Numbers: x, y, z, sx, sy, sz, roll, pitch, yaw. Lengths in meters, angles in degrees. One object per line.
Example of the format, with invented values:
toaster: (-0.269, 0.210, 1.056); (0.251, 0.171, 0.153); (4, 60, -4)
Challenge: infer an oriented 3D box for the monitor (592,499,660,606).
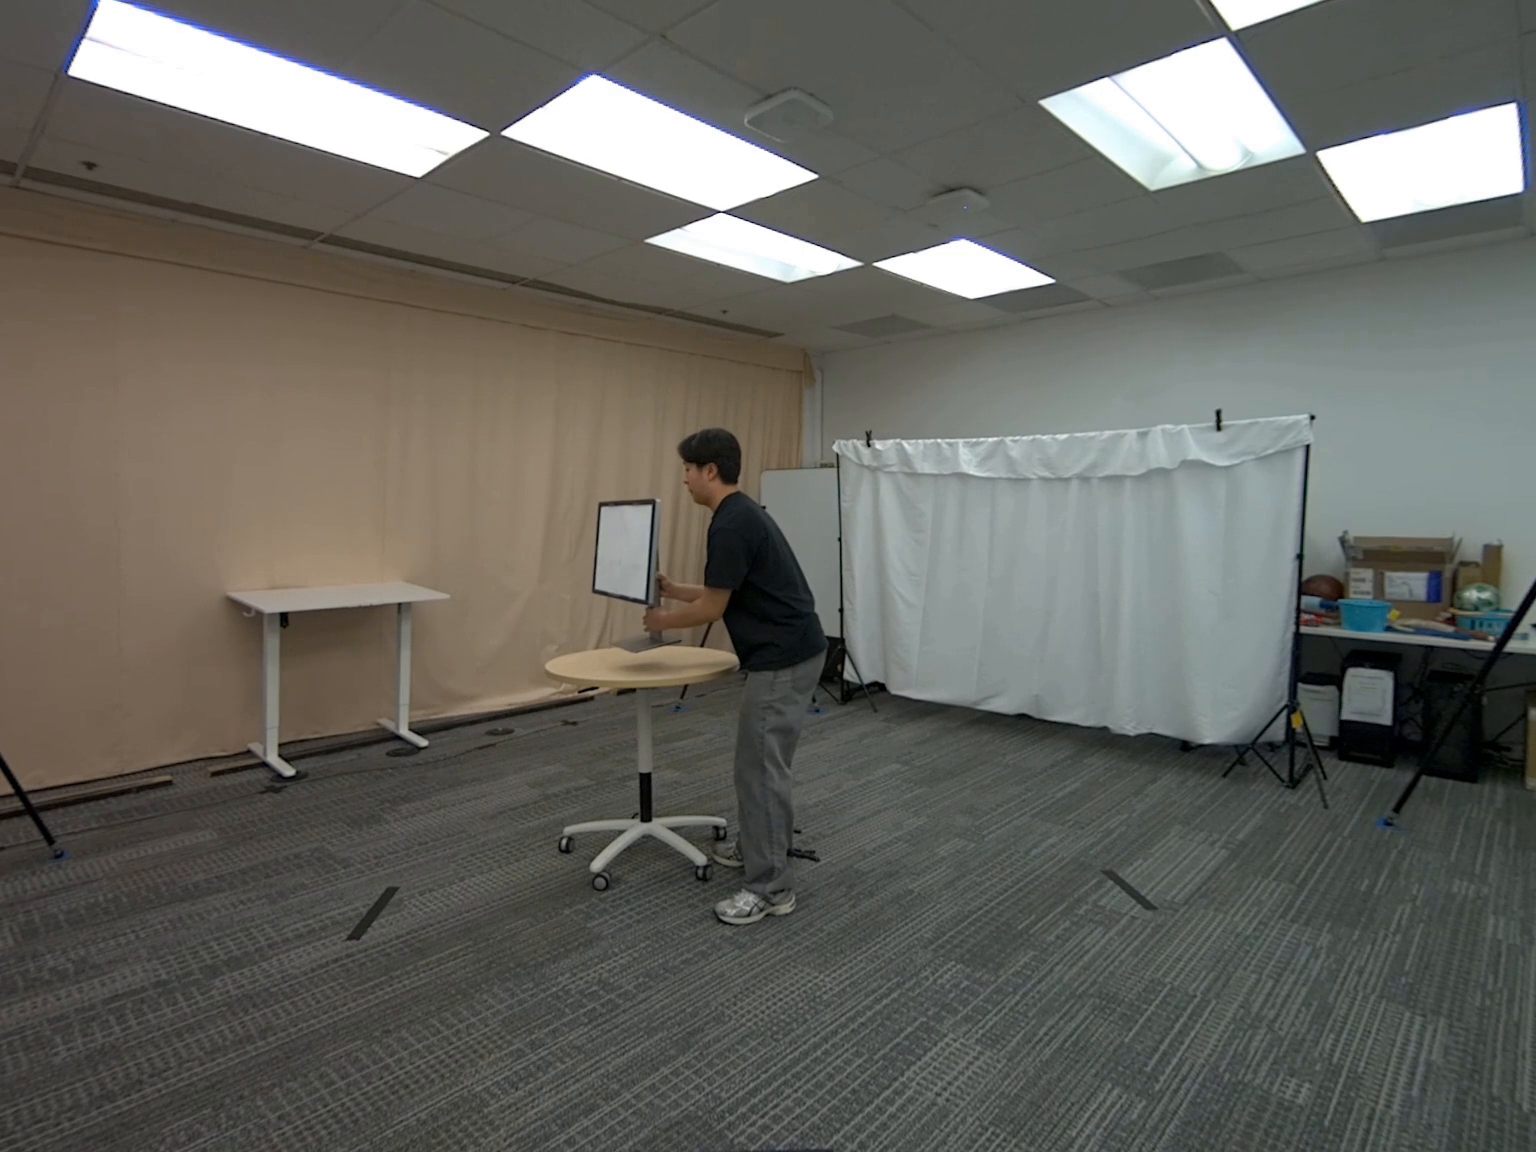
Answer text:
monitor: (-0.492, 0.002, 3.134); (0.217, 0.563, 0.577); (-13, 8, -27)
